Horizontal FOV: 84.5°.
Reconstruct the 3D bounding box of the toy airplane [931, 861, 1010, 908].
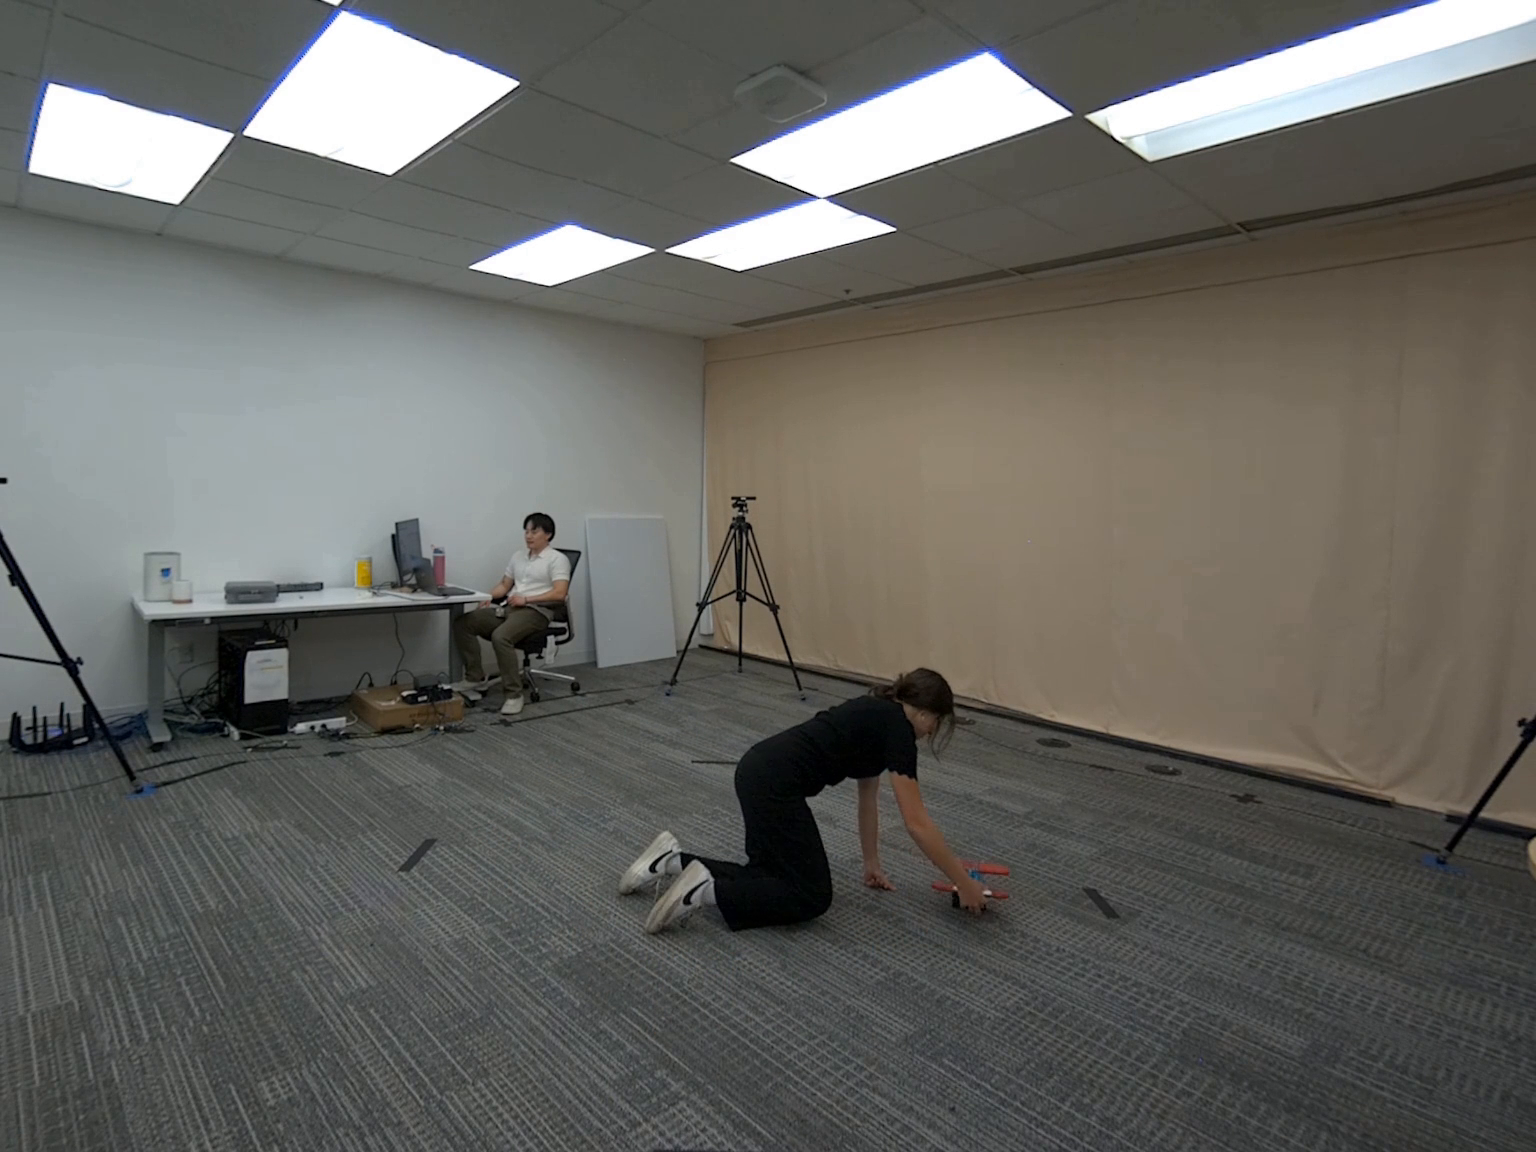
[{"bbox_3d":[0.693,1.050,2.839,0.248,0.158,0.259,13,-21,-14],"label":"toy airplane"}]
